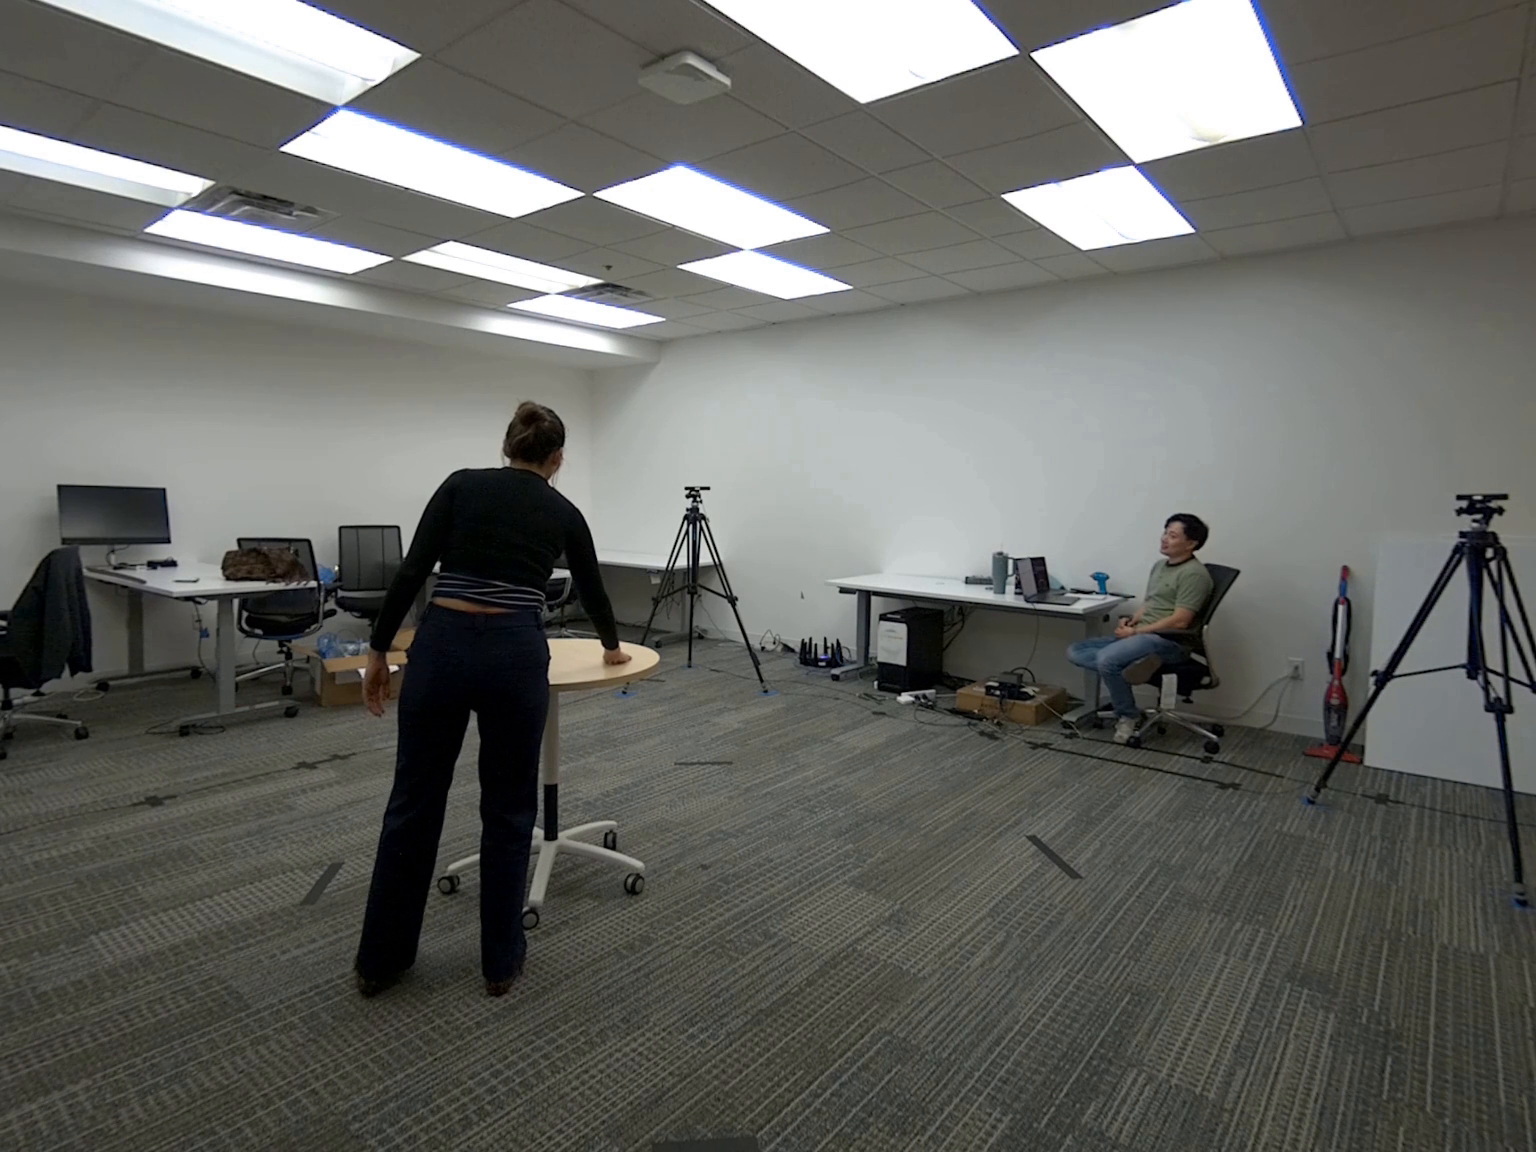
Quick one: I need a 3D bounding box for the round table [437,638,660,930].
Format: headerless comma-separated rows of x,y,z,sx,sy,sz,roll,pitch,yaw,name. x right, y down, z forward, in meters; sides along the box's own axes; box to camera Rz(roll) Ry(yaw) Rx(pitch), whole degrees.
-0.775,0.682,2.999,0.763,0.791,0.768,0,5,-2,round table
